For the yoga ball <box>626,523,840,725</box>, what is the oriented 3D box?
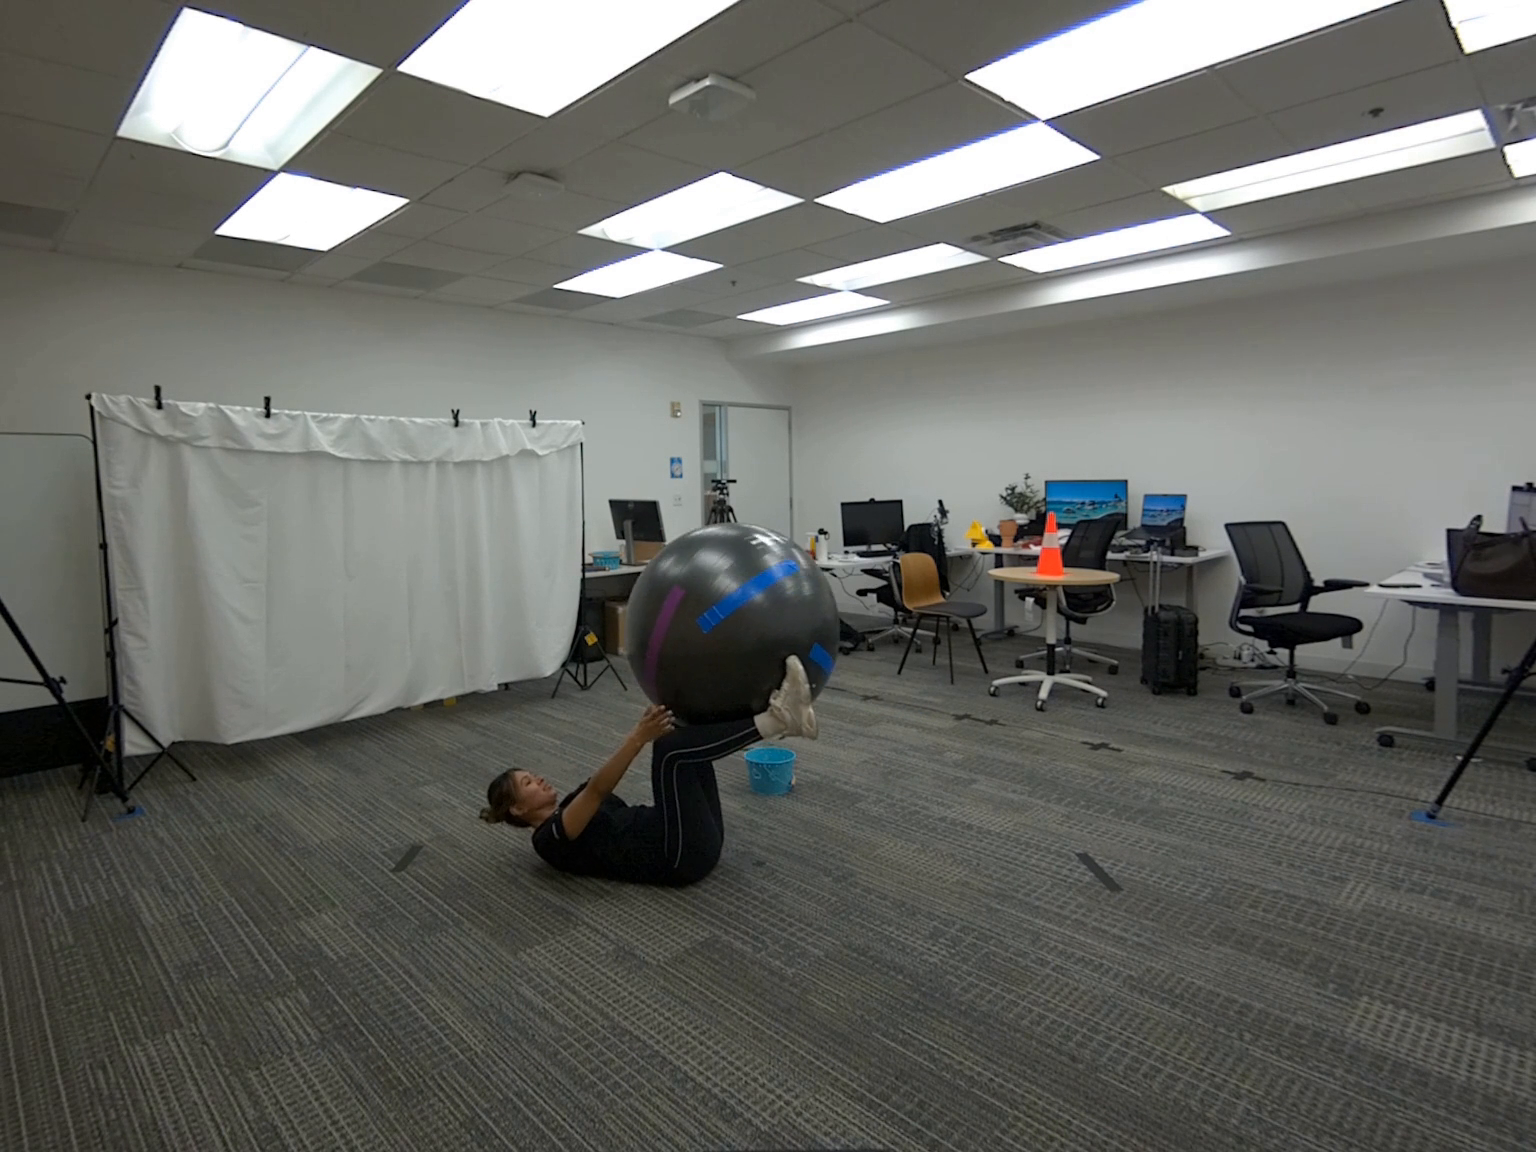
[{"bbox_3d":[-0.133,0.198,3.016,0.757,0.755,0.762,-1,5,-2],"label":"yoga ball"}]
